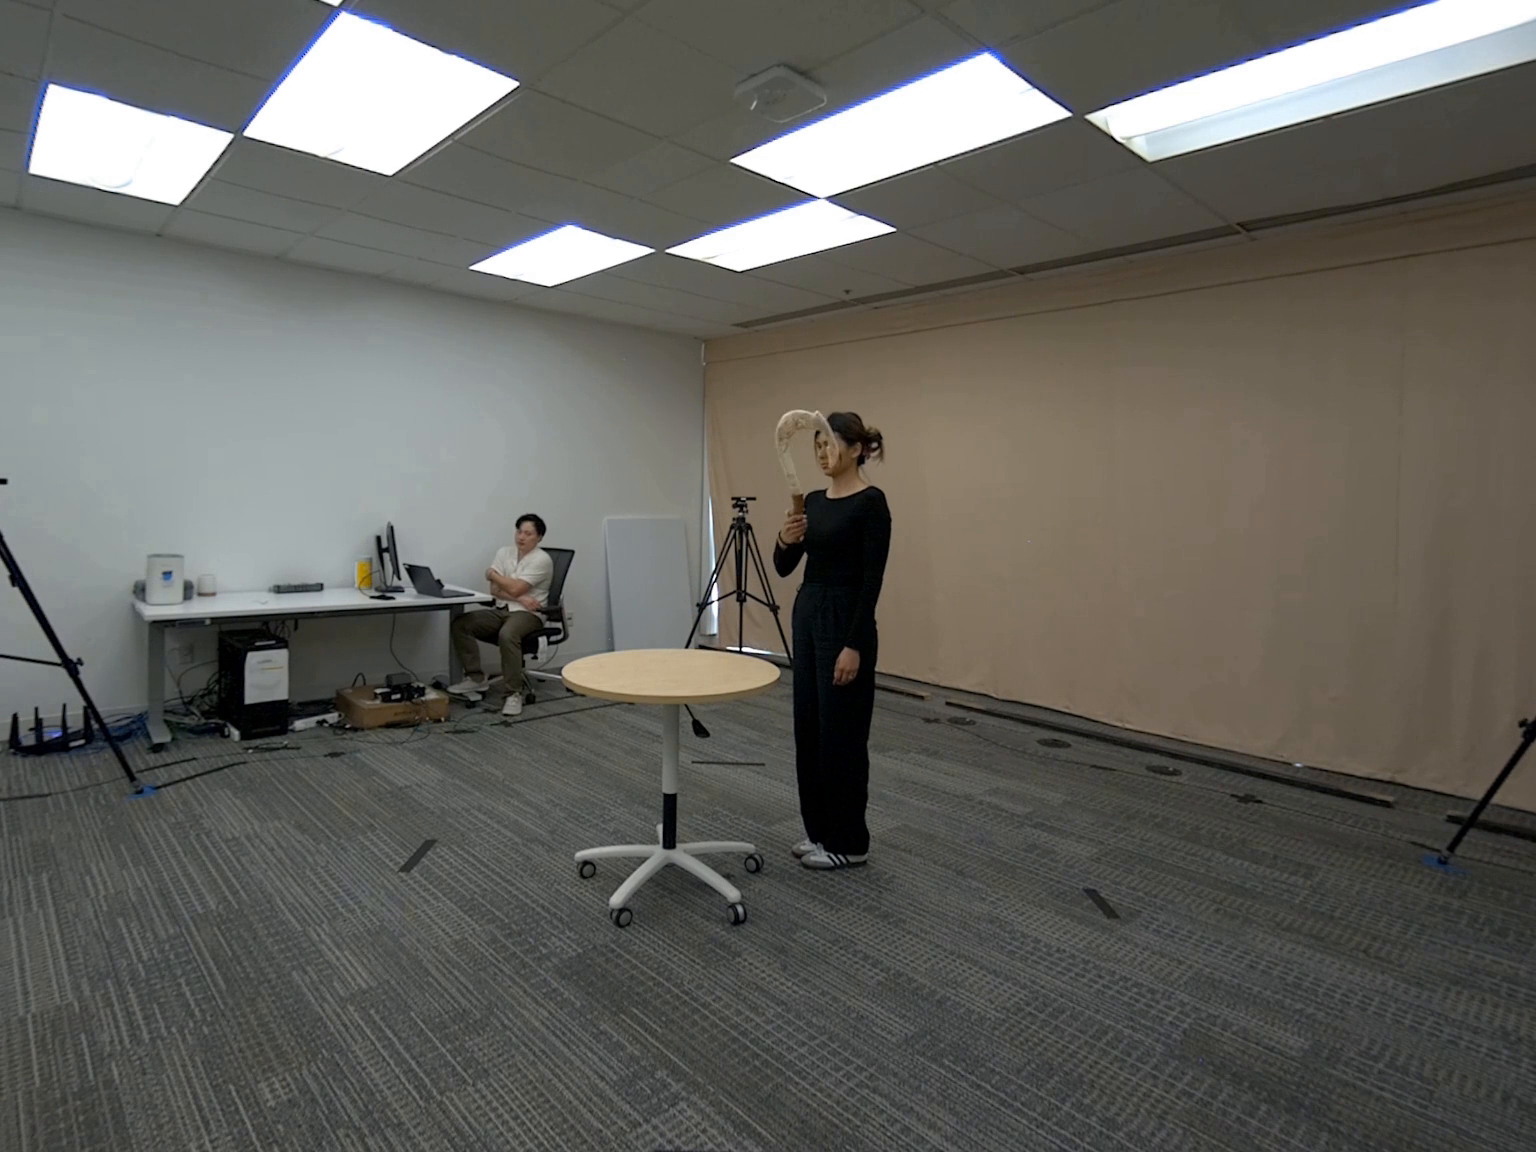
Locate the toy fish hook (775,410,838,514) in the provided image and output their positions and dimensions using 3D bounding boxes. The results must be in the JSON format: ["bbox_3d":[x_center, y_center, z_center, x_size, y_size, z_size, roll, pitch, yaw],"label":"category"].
[{"bbox_3d":[0.133,-0.330,2.942,0.229,0.497,0.048,11,31,27],"label":"toy fish hook"}]
